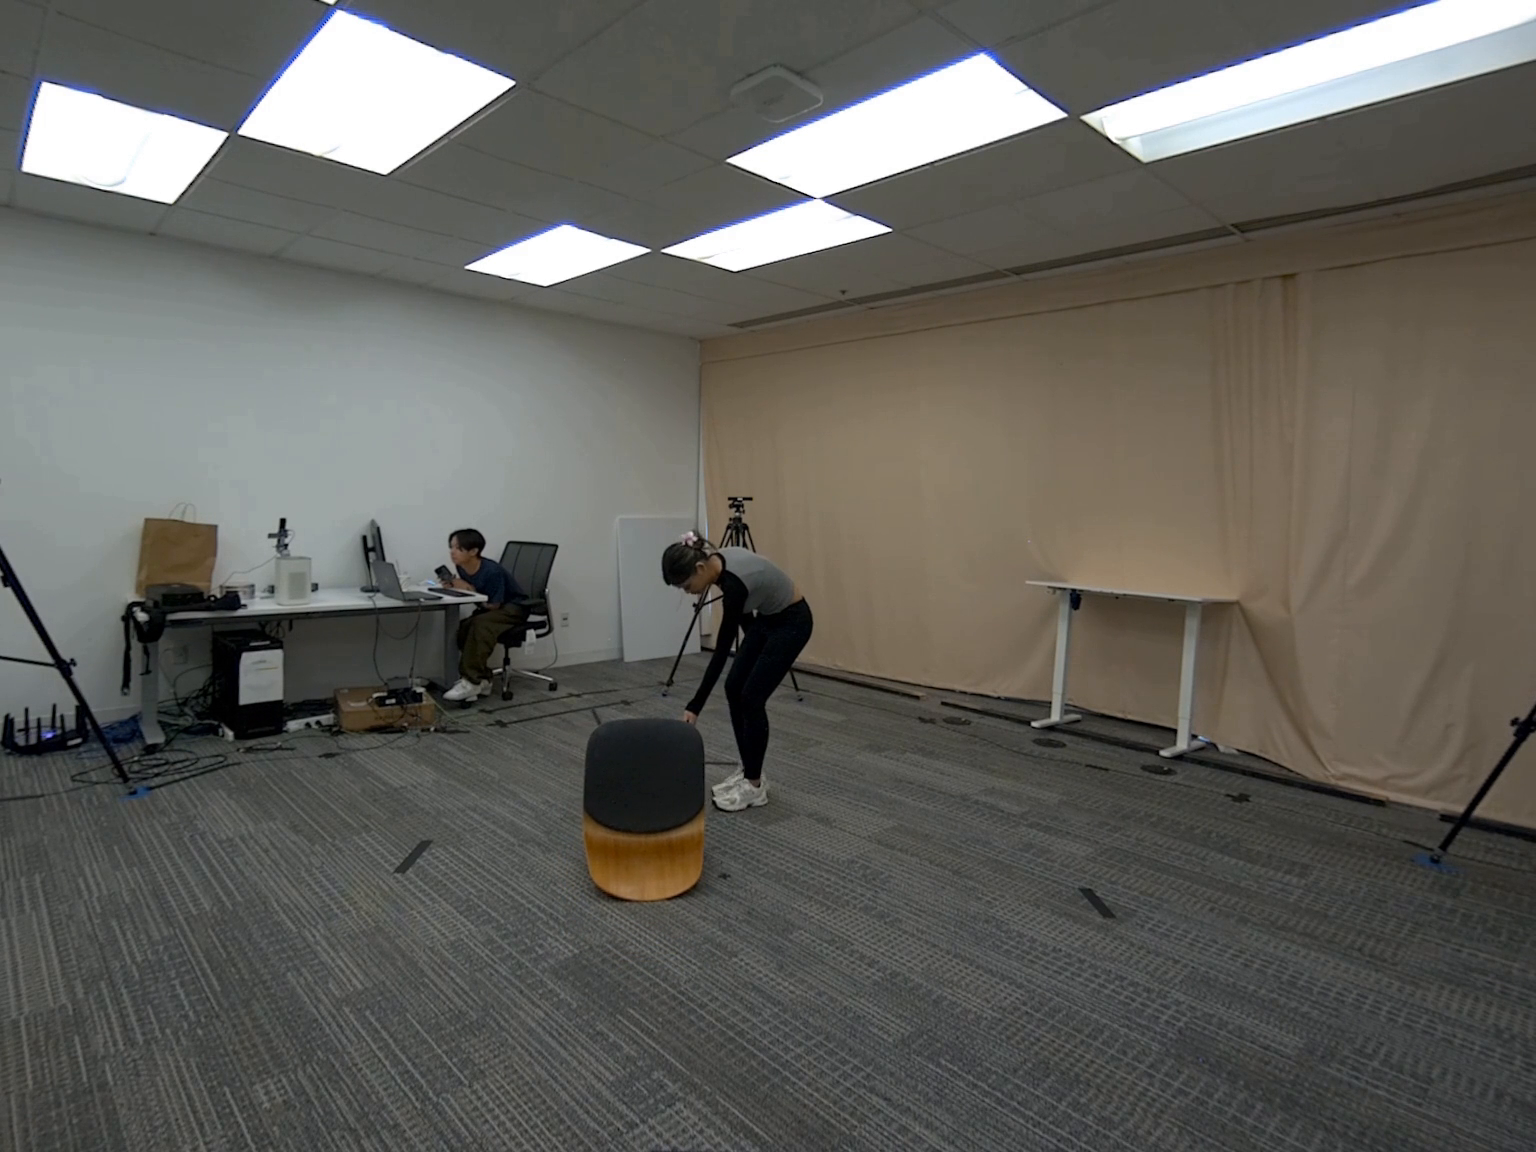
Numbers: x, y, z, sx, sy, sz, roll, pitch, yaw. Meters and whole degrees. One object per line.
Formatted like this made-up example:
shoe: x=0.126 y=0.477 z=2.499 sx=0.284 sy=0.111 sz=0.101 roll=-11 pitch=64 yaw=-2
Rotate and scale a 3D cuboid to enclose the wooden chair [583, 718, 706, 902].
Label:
wooden chair: x=-0.490 y=0.822 z=3.306 sx=0.475 sy=0.521 sz=0.886 roll=1 pitch=5 yaw=-9
